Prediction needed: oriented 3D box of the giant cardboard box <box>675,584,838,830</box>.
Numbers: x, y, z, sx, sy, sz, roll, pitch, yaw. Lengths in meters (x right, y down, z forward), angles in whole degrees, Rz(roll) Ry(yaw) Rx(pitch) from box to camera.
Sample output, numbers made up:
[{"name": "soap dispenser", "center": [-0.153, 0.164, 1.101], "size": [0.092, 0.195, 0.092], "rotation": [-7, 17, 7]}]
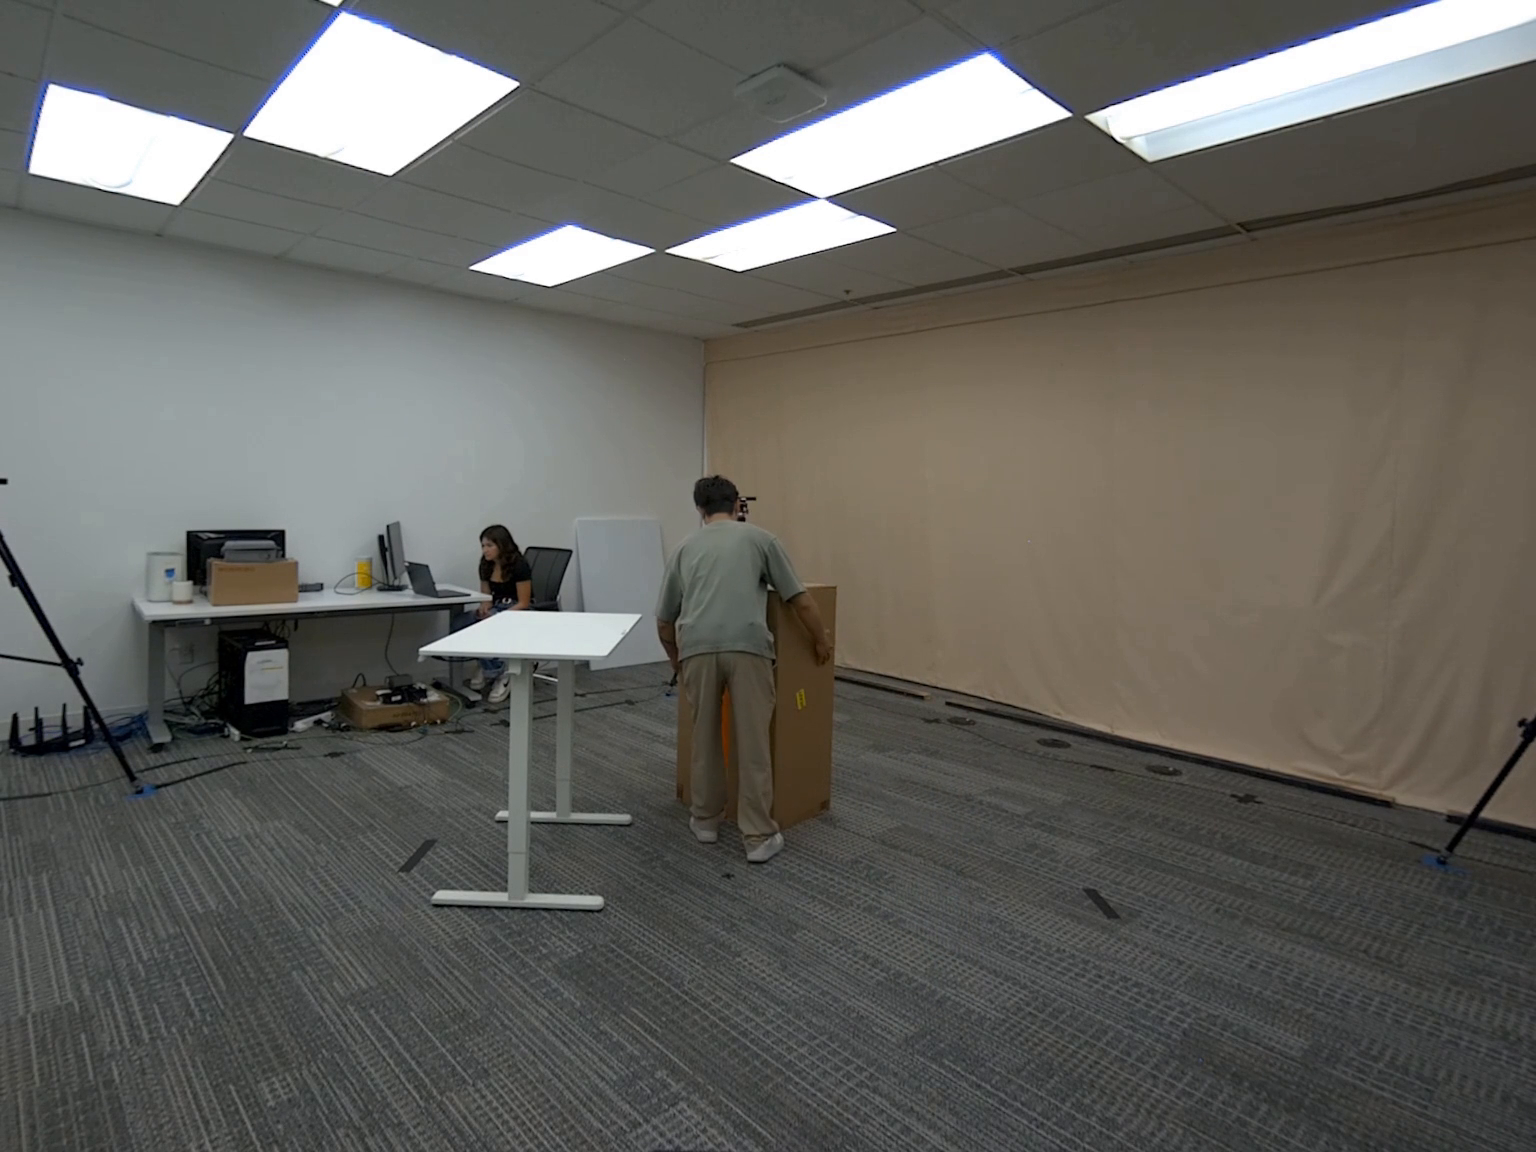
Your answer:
[{"name": "giant cardboard box", "center": [-0.063, 0.540, 3.828], "size": [0.592, 1.023, 0.416], "rotation": [4, 4, 39]}]
